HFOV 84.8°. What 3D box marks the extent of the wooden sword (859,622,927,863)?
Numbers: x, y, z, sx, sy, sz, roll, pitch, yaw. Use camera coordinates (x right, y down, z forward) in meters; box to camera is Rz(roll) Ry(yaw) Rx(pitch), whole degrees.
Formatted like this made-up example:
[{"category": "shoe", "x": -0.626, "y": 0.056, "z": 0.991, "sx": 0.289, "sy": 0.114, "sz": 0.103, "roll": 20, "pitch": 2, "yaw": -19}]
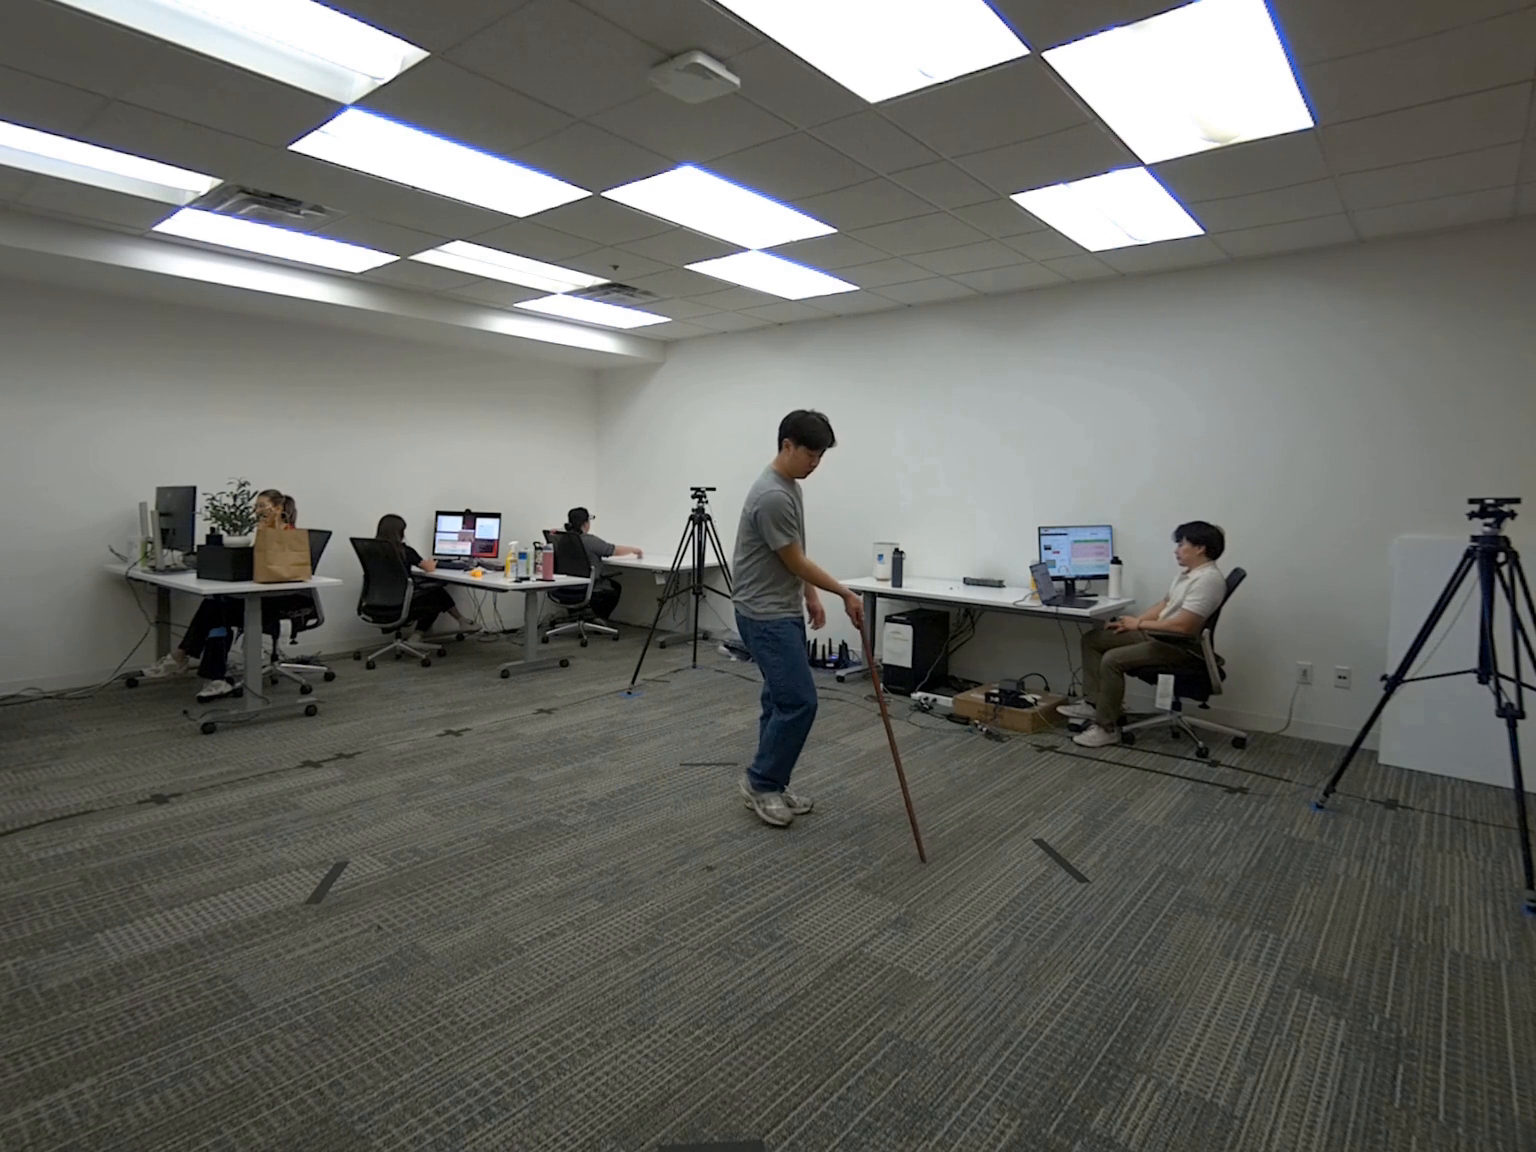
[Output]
[{"category": "wooden sword", "x": 0.479, "y": 0.601, "z": 3.372, "sx": 0.052, "sy": 1.046, "sz": 0.023, "roll": -22, "pitch": -21, "yaw": 26}]
